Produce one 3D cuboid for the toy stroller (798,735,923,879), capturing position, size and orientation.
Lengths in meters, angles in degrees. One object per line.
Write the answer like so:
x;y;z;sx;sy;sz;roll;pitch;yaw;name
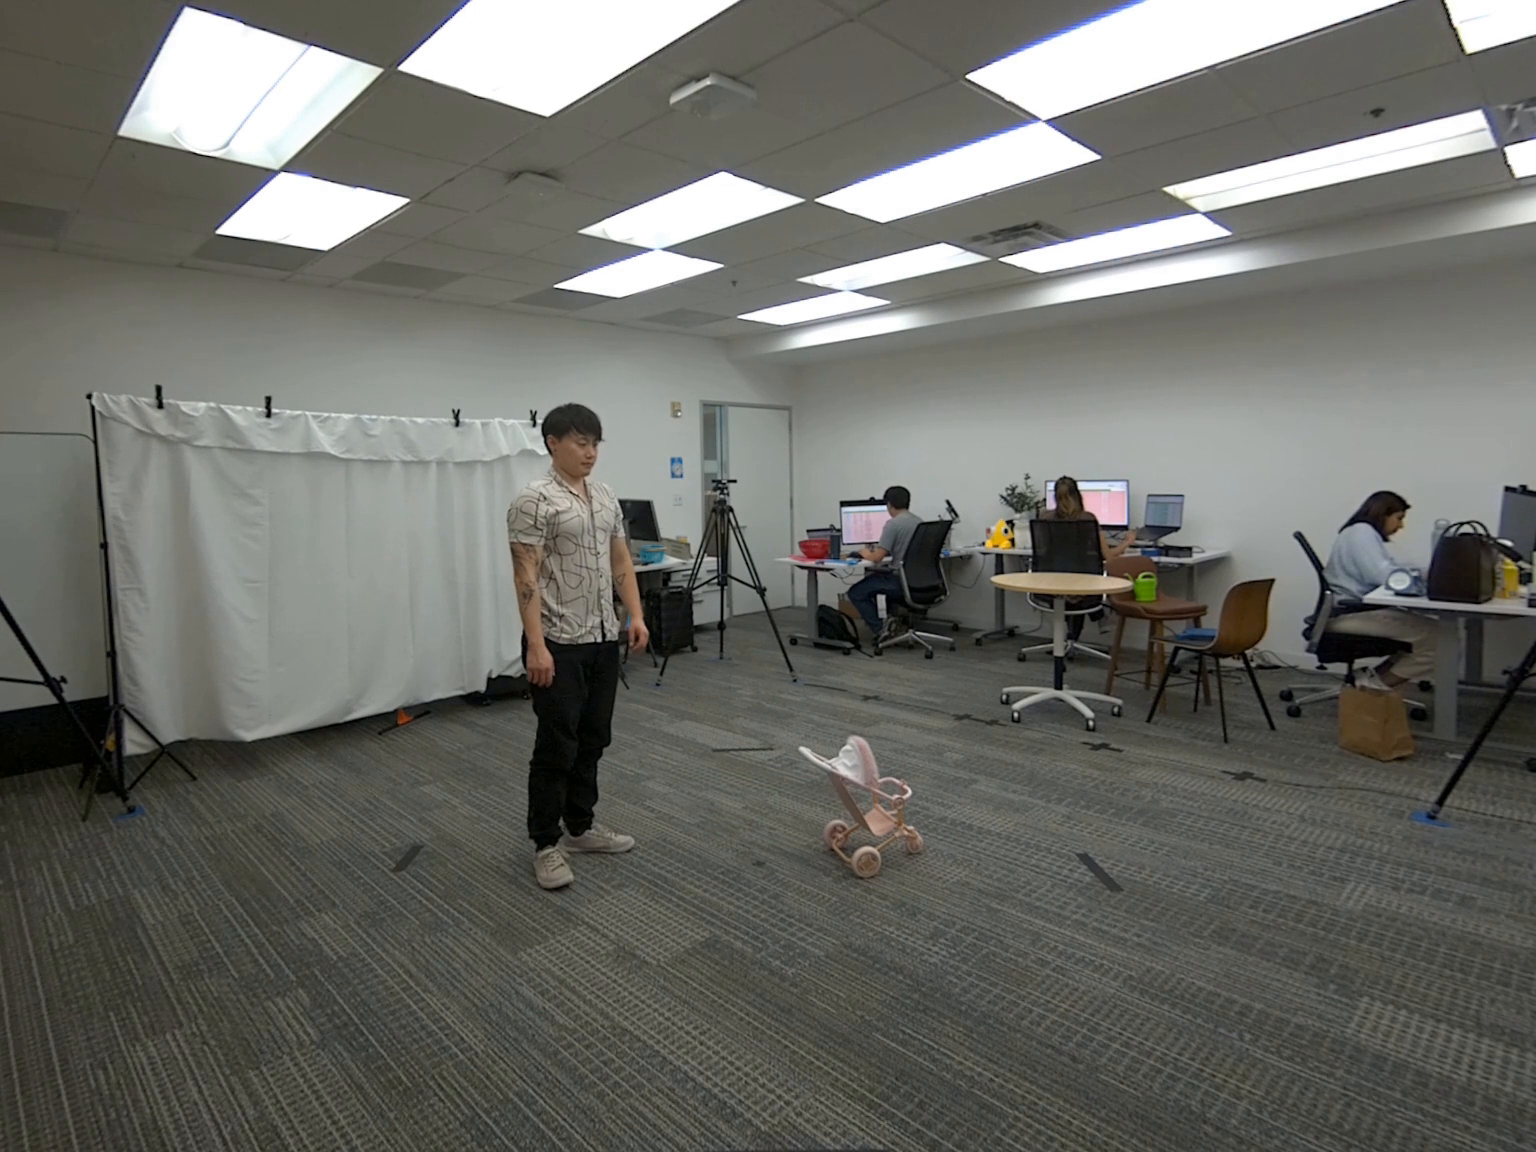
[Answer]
0.355;0.814;3.104;0.339;0.531;0.286;-19;7;-11;toy stroller
